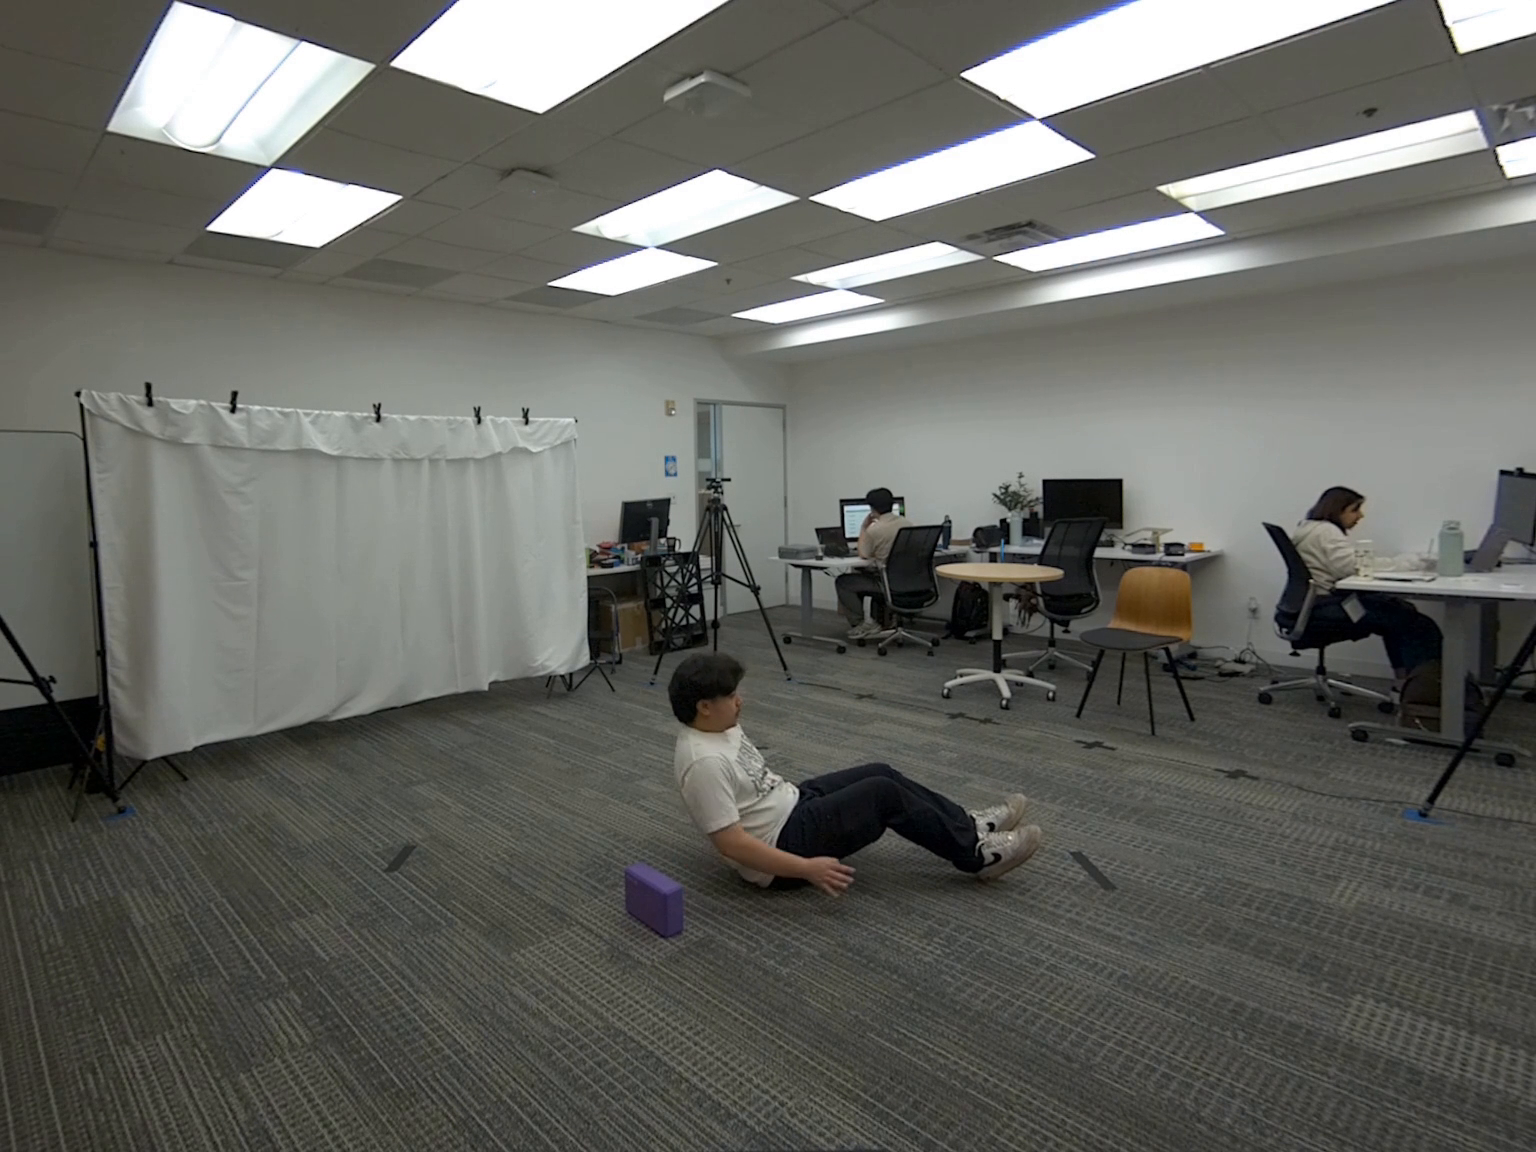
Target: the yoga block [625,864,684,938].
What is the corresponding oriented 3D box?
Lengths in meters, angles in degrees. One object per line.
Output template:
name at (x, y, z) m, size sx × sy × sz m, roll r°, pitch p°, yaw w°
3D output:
yoga block at (-0.358, 1.020, 2.701) m, size 0.074 × 0.148 × 0.236 m, roll -6°, pitch 8°, yaw -41°
